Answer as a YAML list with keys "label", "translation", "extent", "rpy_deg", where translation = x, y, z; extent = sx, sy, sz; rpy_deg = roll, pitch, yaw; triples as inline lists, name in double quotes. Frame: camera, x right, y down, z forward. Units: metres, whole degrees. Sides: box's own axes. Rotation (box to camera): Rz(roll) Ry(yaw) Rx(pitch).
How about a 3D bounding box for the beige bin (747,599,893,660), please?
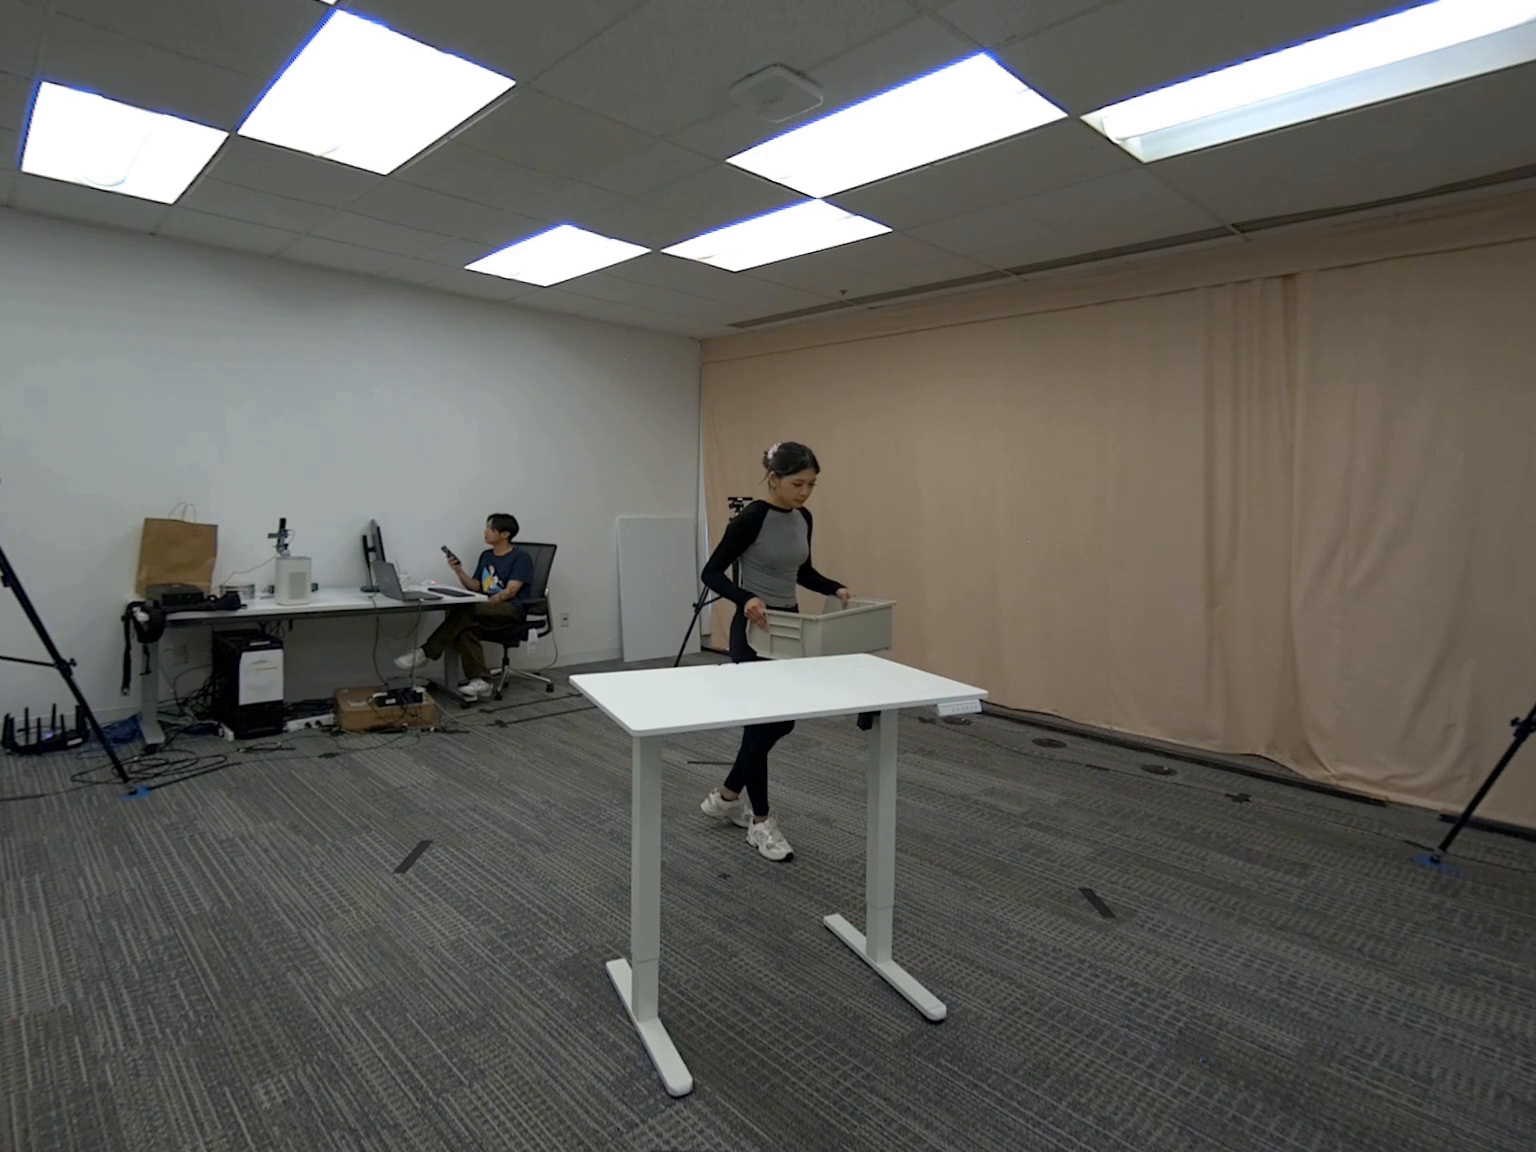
- label: "beige bin"
  translation: [0.193, 0.185, 3.121]
  extent: [0.413, 0.188, 0.387]
  rpy_deg: [-5, 8, -40]
